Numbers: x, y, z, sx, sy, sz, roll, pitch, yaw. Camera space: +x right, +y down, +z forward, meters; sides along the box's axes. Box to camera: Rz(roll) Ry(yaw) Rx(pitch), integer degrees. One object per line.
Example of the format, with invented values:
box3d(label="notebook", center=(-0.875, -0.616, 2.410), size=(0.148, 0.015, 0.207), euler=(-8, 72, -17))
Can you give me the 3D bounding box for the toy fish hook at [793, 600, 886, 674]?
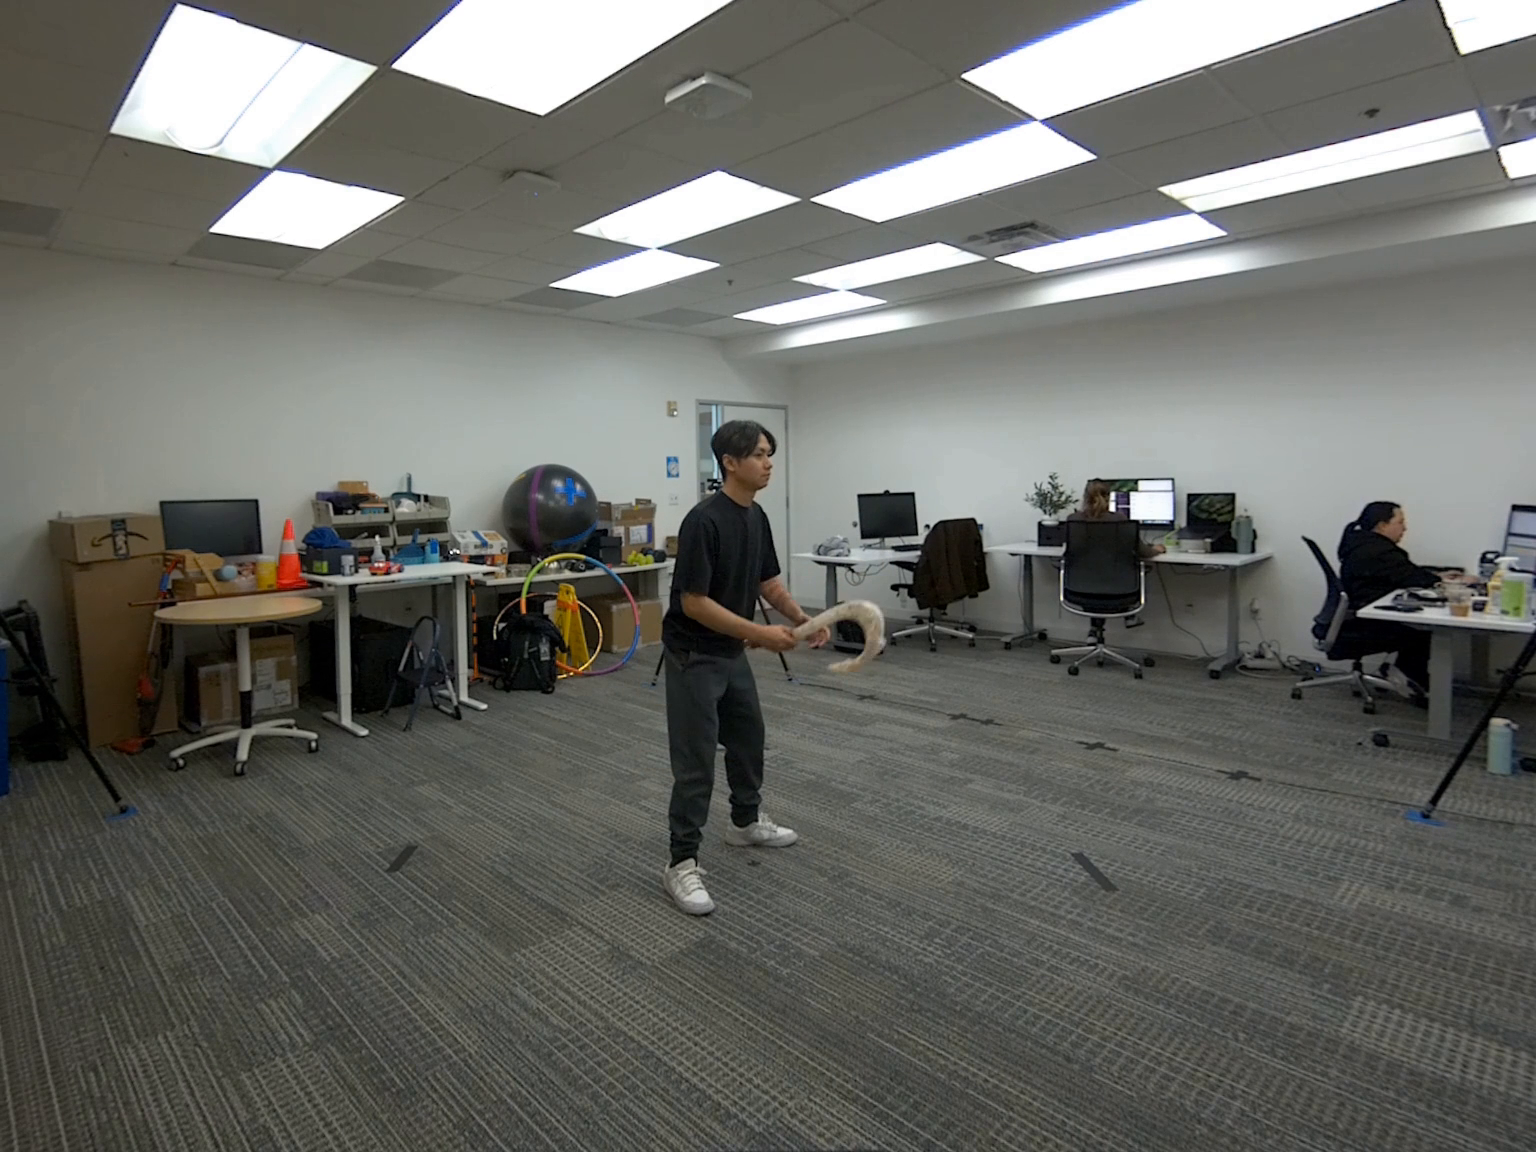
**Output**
box3d(label="toy fish hook", center=(0.117, 0.226, 2.723), size=(0.515, 0.230, 0.046), euler=(-16, -35, 30))
